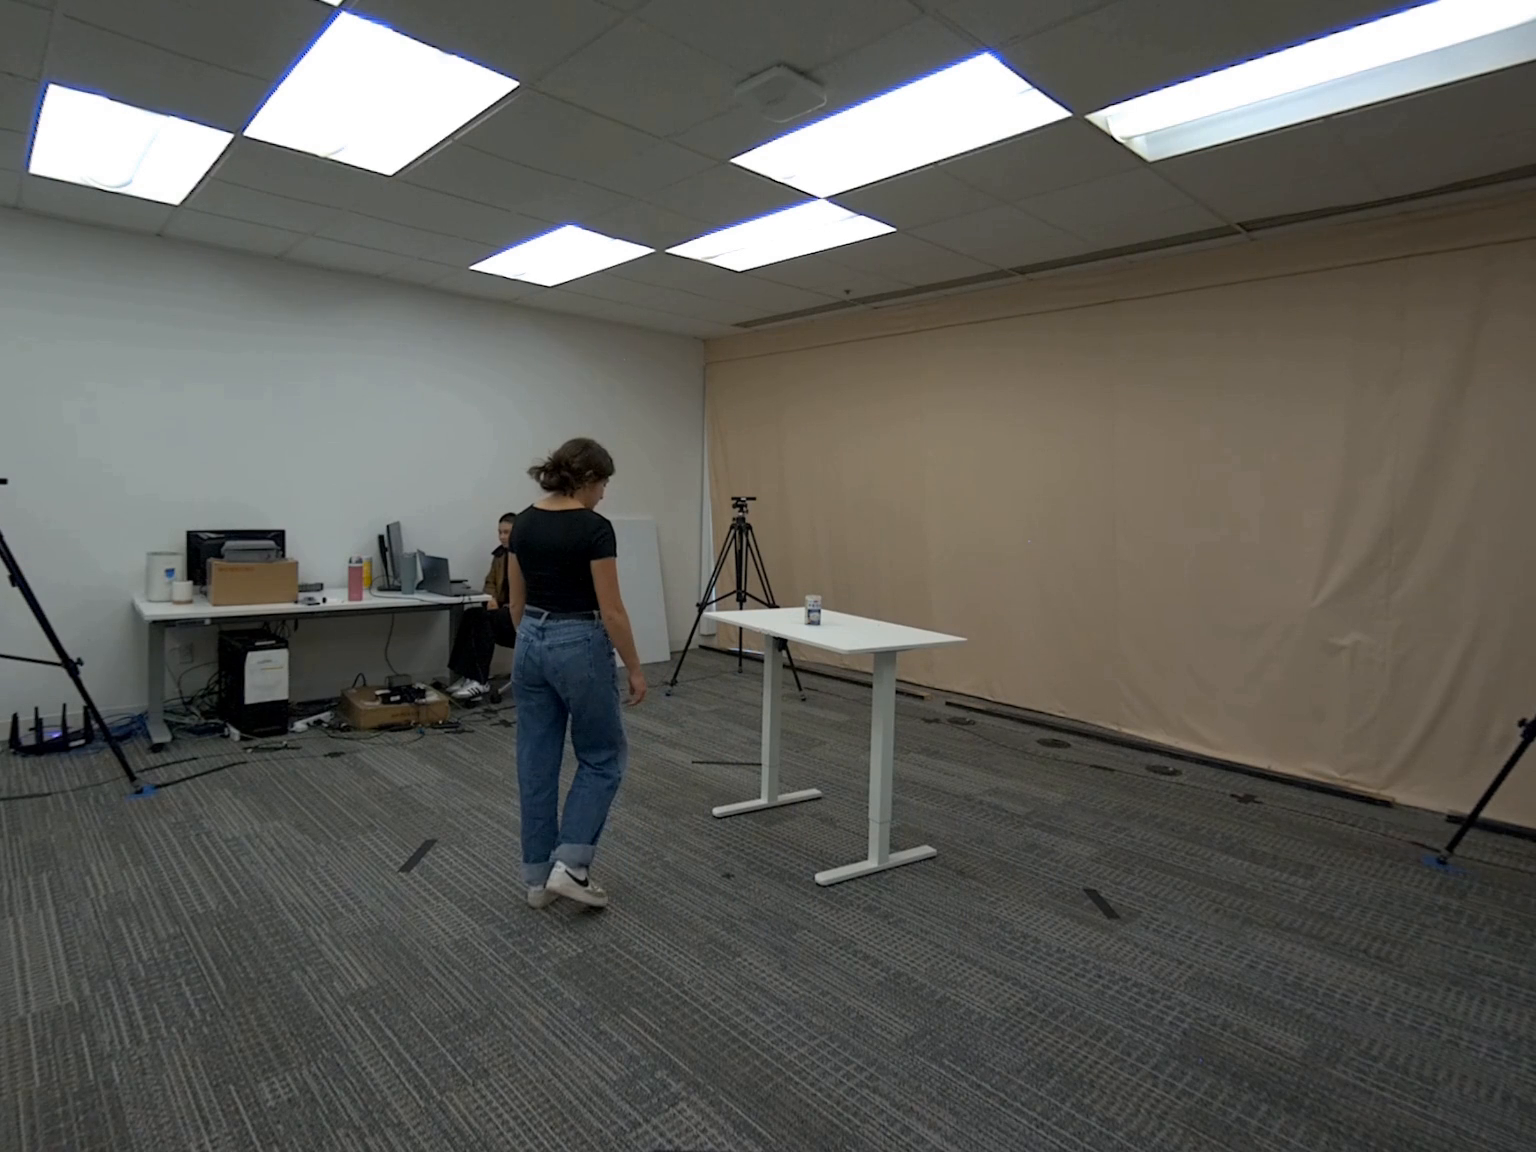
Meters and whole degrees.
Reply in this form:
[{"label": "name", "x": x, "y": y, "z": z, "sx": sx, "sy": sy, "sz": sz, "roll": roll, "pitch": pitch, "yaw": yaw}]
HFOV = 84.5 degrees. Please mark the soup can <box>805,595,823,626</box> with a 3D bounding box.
[{"label": "soup can", "x": 0.182, "y": 0.144, "z": 3.472, "sx": 0.067, "sy": 0.121, "sz": 0.067, "roll": 1, "pitch": 5, "yaw": -1}]
